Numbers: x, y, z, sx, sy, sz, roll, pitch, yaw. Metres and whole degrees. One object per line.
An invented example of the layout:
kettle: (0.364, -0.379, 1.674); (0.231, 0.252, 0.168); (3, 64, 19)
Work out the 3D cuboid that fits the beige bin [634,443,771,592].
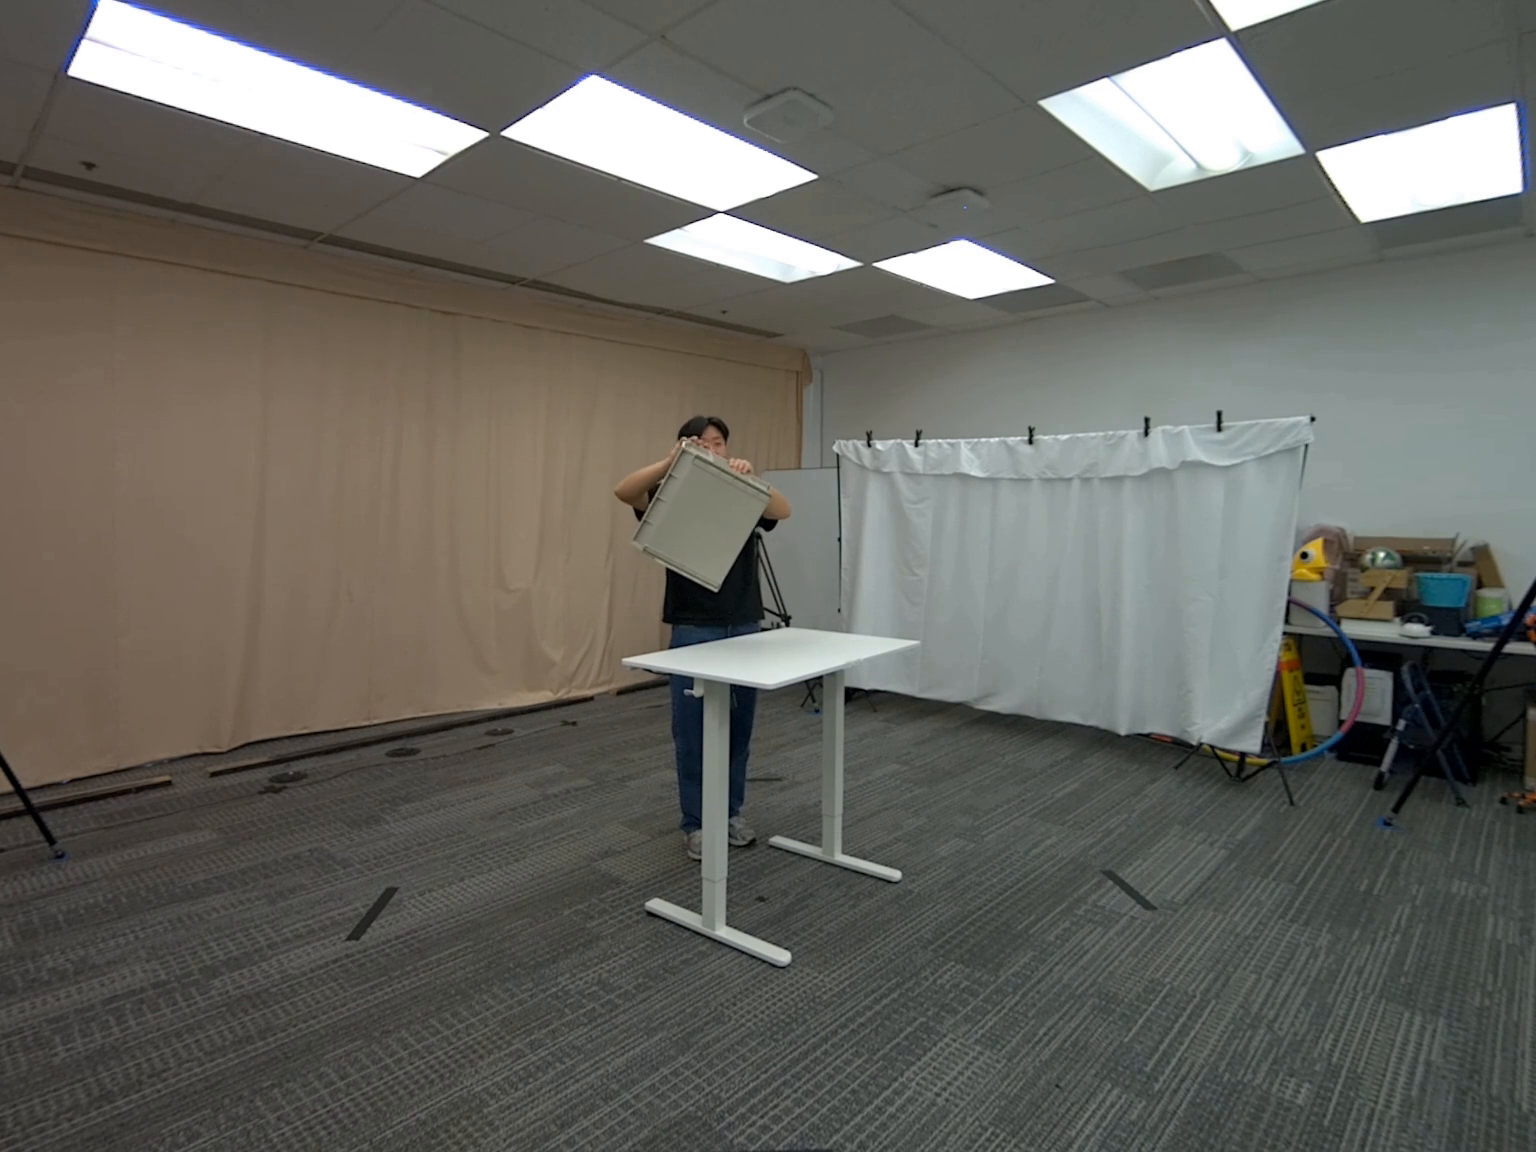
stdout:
beige bin: (-0.240, -0.223, 3.071); (0.372, 0.422, 0.191); (28, 12, -11)
